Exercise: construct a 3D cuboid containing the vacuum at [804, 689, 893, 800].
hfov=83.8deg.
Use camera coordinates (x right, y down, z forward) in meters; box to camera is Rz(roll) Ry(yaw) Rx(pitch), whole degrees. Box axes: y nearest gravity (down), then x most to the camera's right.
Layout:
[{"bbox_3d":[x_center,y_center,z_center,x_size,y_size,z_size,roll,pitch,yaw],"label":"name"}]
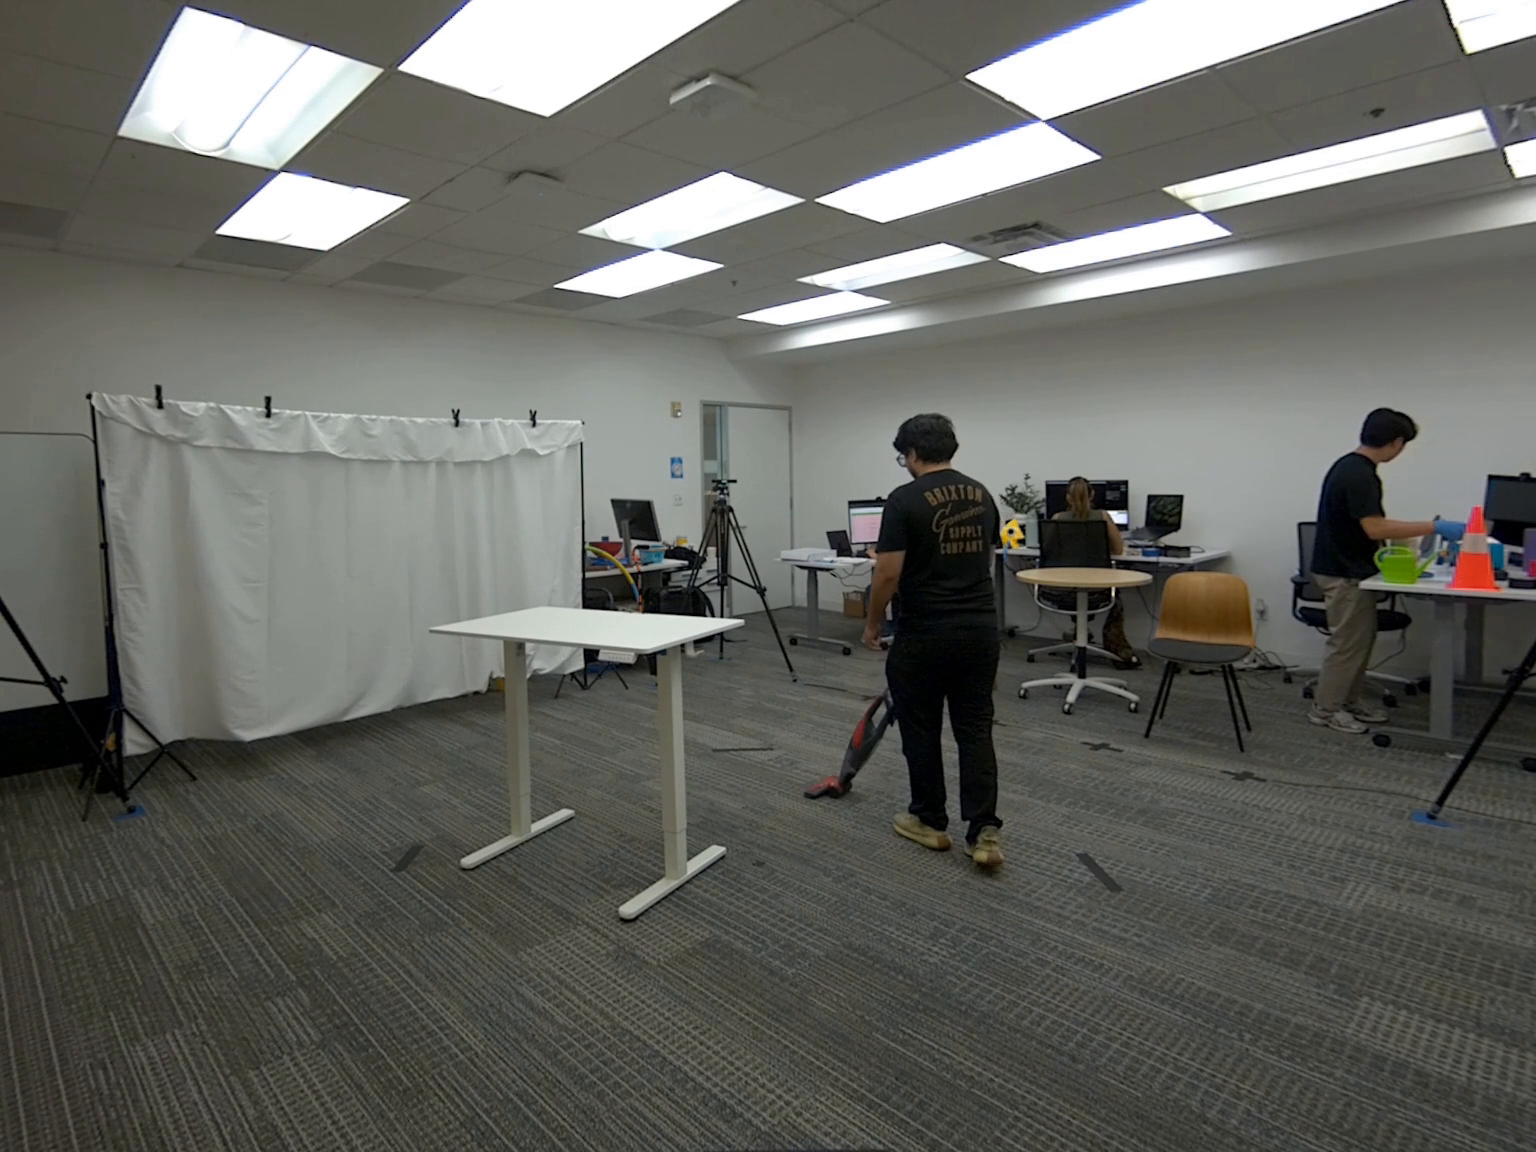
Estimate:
[{"bbox_3d":[0.514,0.542,3.626,0.148,1.042,0.246,40,23,25],"label":"vacuum"}]
